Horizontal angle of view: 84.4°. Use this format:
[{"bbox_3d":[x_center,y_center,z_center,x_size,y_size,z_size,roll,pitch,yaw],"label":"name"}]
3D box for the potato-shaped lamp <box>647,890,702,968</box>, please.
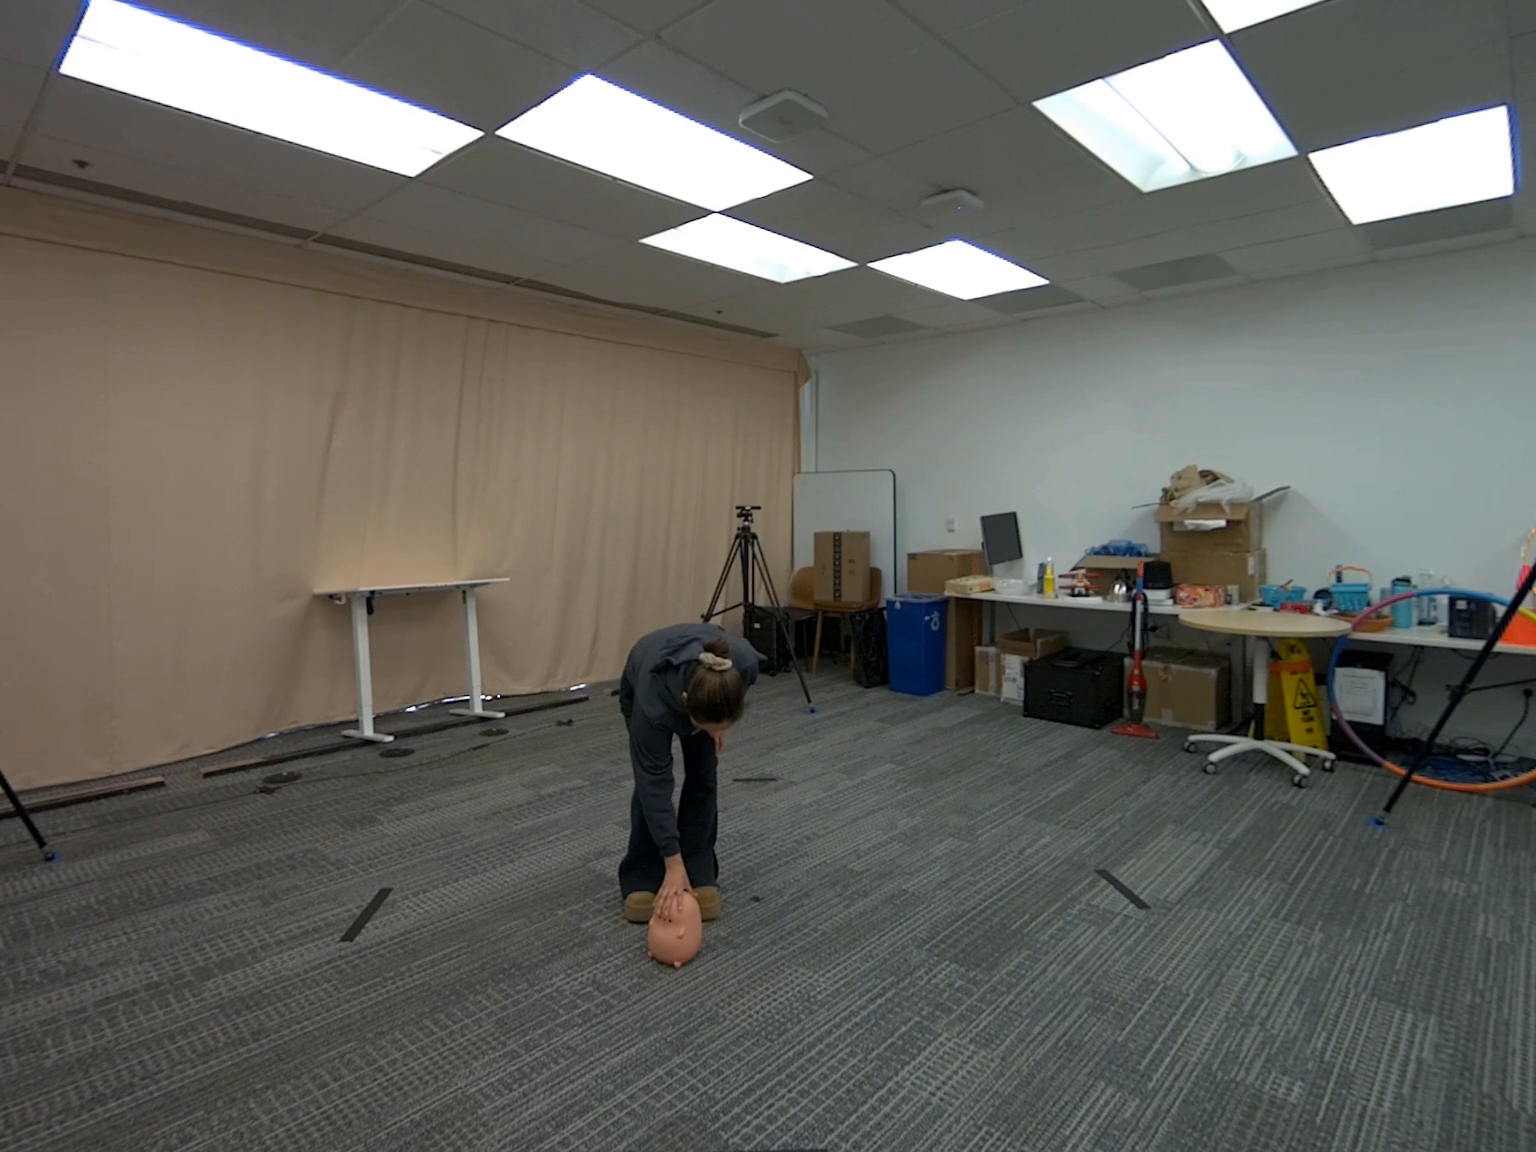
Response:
[{"bbox_3d":[-0.276,1.072,2.616,0.169,0.197,0.167,4,5,30],"label":"potato-shaped lamp"}]
